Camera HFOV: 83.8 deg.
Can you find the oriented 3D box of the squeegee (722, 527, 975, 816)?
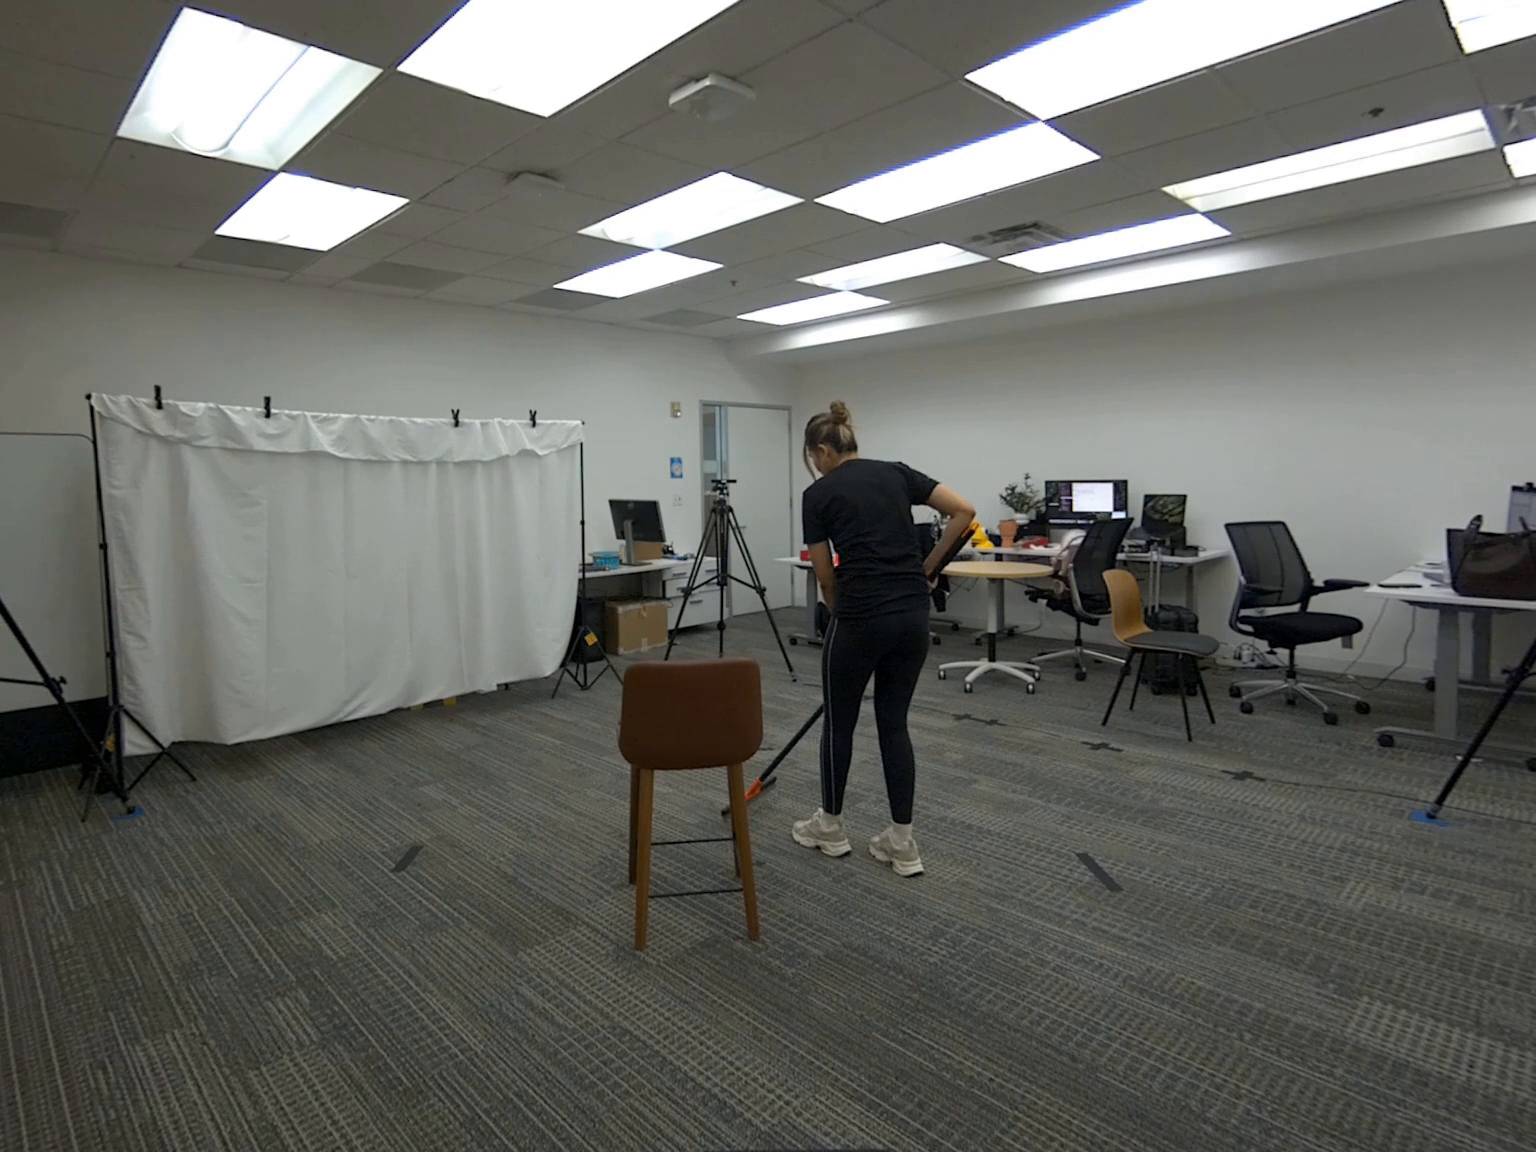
[{"bbox_3d":[0.331,0.379,3.332,0.054,1.533,0.429,45,24,15],"label":"squeegee"}]
